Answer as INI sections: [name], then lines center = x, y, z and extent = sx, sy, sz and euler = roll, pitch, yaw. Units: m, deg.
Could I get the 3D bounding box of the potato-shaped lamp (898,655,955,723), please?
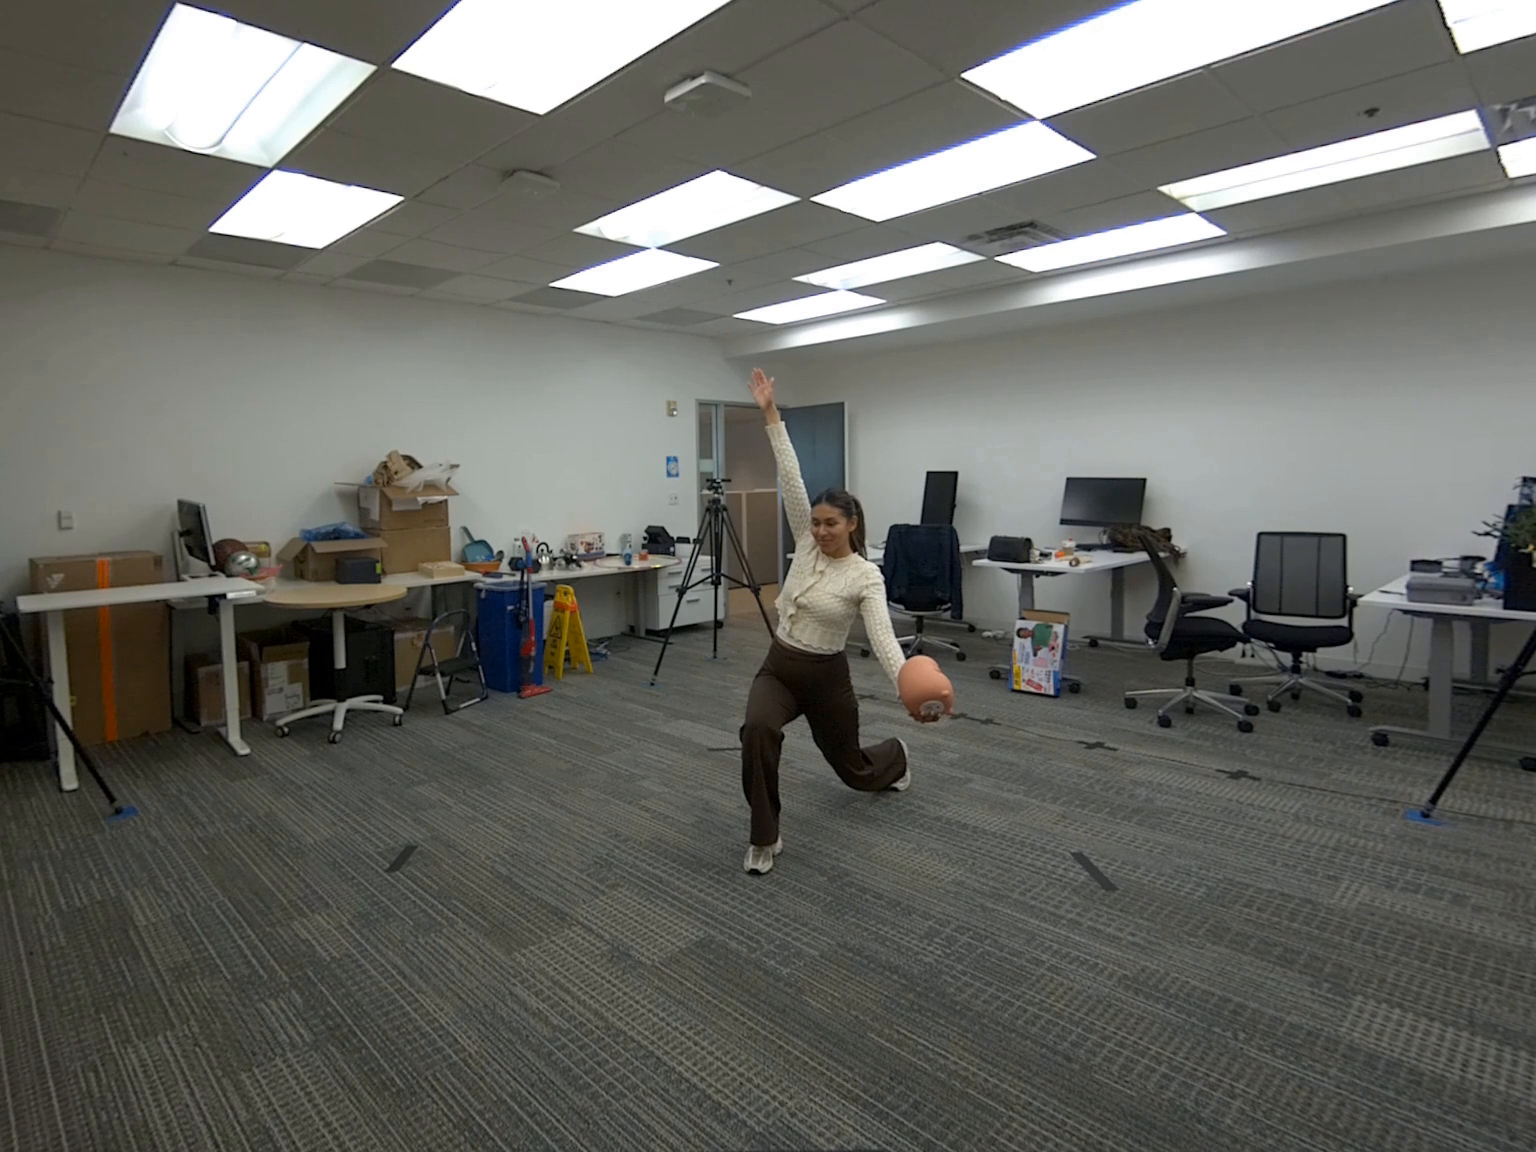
[potato-shaped lamp]
center = 0.522, 0.361, 2.827
extent = 0.173, 0.159, 0.203
euler = -12, 43, 11
